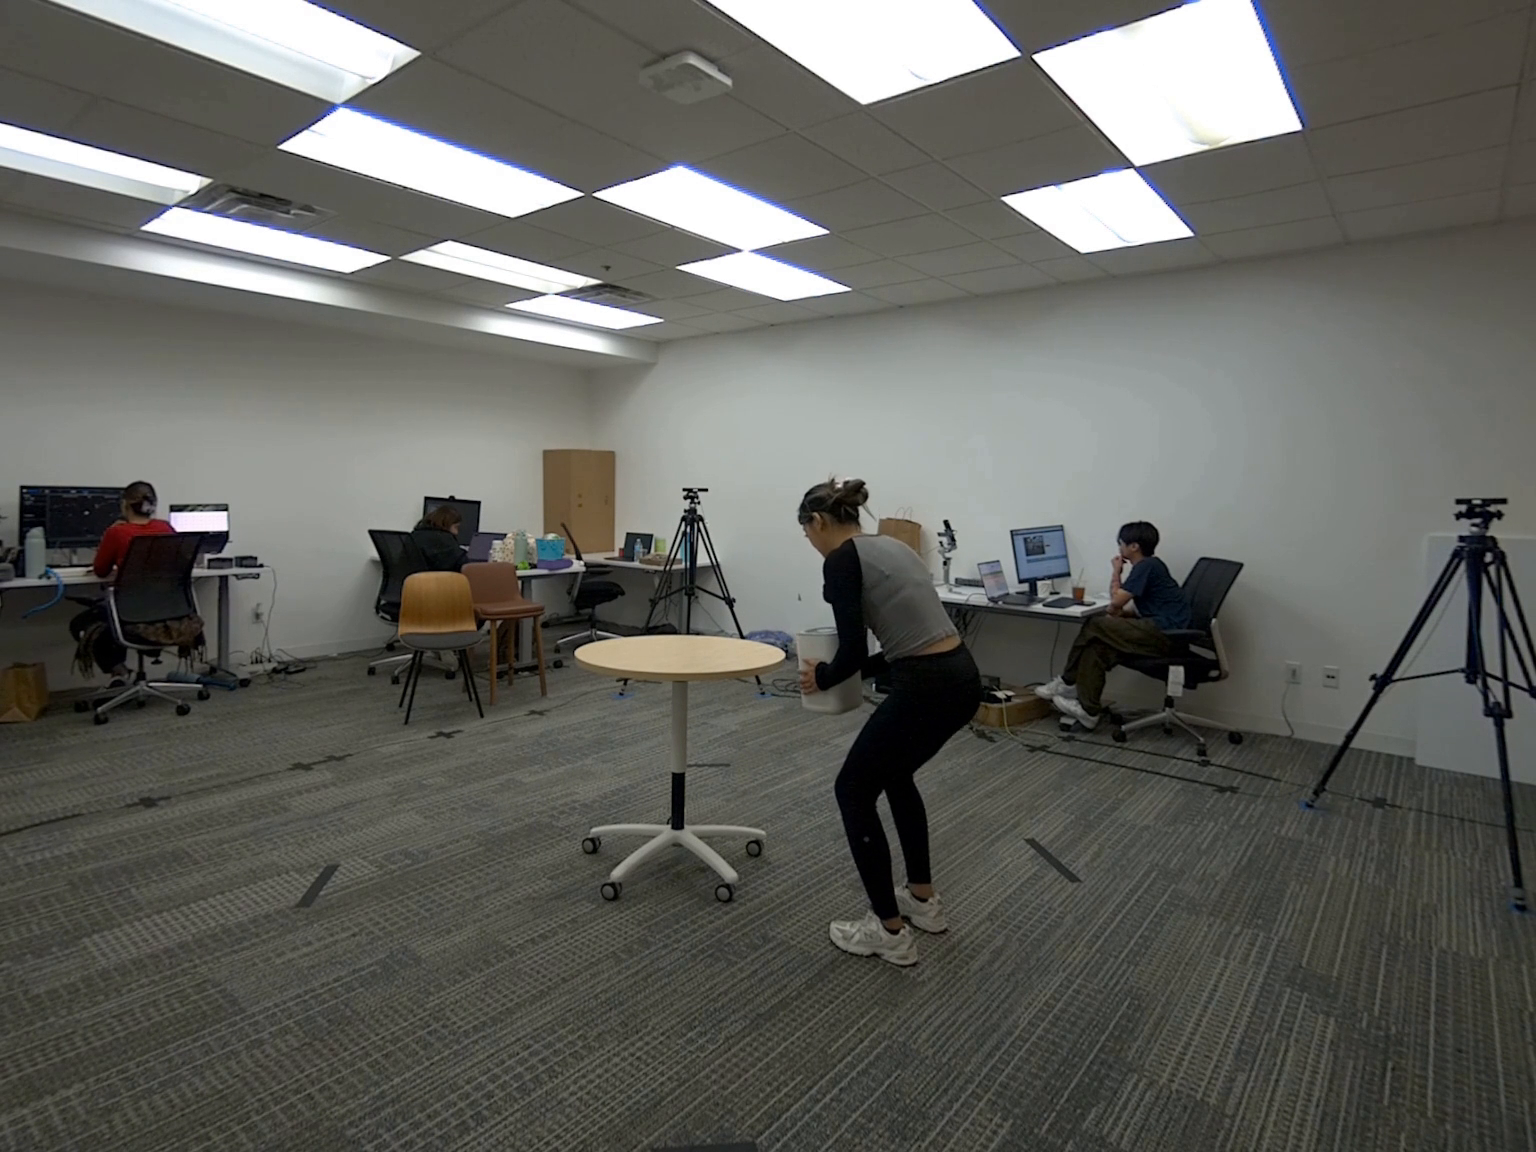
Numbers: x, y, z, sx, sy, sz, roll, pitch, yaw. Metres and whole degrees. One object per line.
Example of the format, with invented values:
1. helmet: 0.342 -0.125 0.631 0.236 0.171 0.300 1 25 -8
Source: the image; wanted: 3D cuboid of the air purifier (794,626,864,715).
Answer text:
1. air purifier: 0.197 0.306 2.778 0.177 0.265 0.166 -4 3 42
